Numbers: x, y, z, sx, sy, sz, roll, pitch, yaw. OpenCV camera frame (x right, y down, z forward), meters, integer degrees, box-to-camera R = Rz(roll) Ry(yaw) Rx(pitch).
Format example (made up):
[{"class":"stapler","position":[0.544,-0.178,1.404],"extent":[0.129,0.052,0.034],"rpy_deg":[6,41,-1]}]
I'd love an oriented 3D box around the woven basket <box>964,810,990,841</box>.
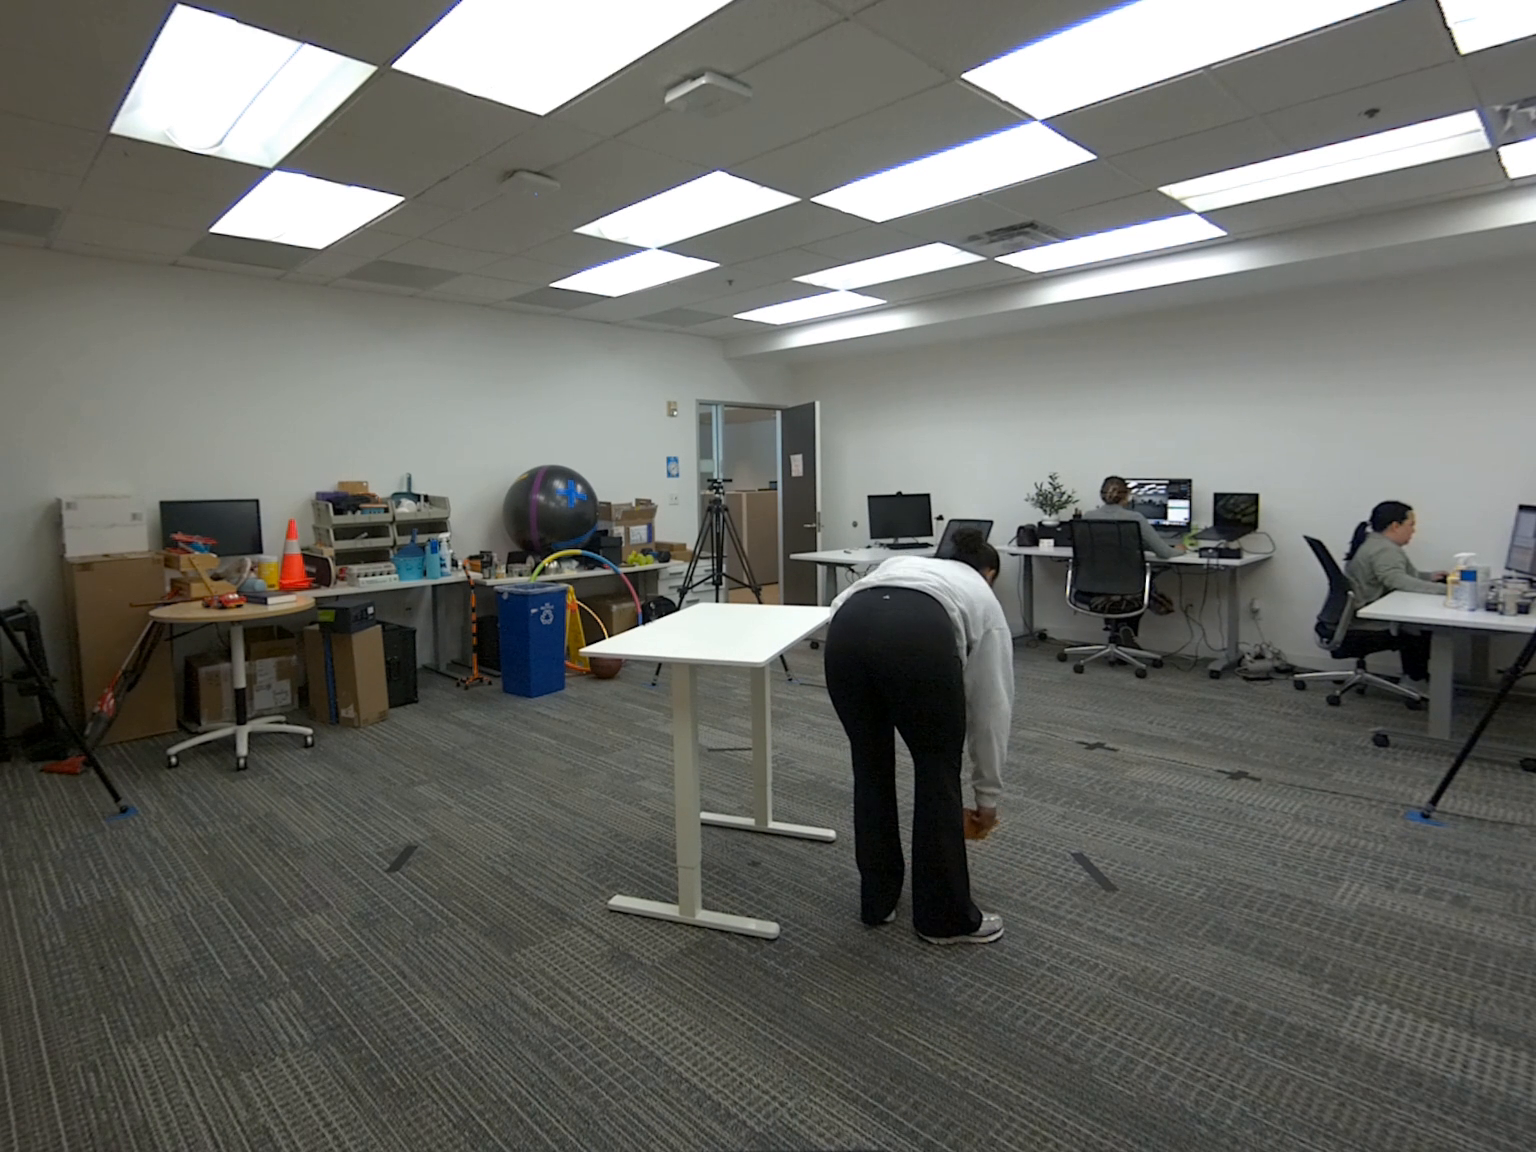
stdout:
[{"class":"woven basket","position":[0.648,0.819,2.841],"extent":[0.256,0.074,0.342],"rpy_deg":[10,-16,12]}]
